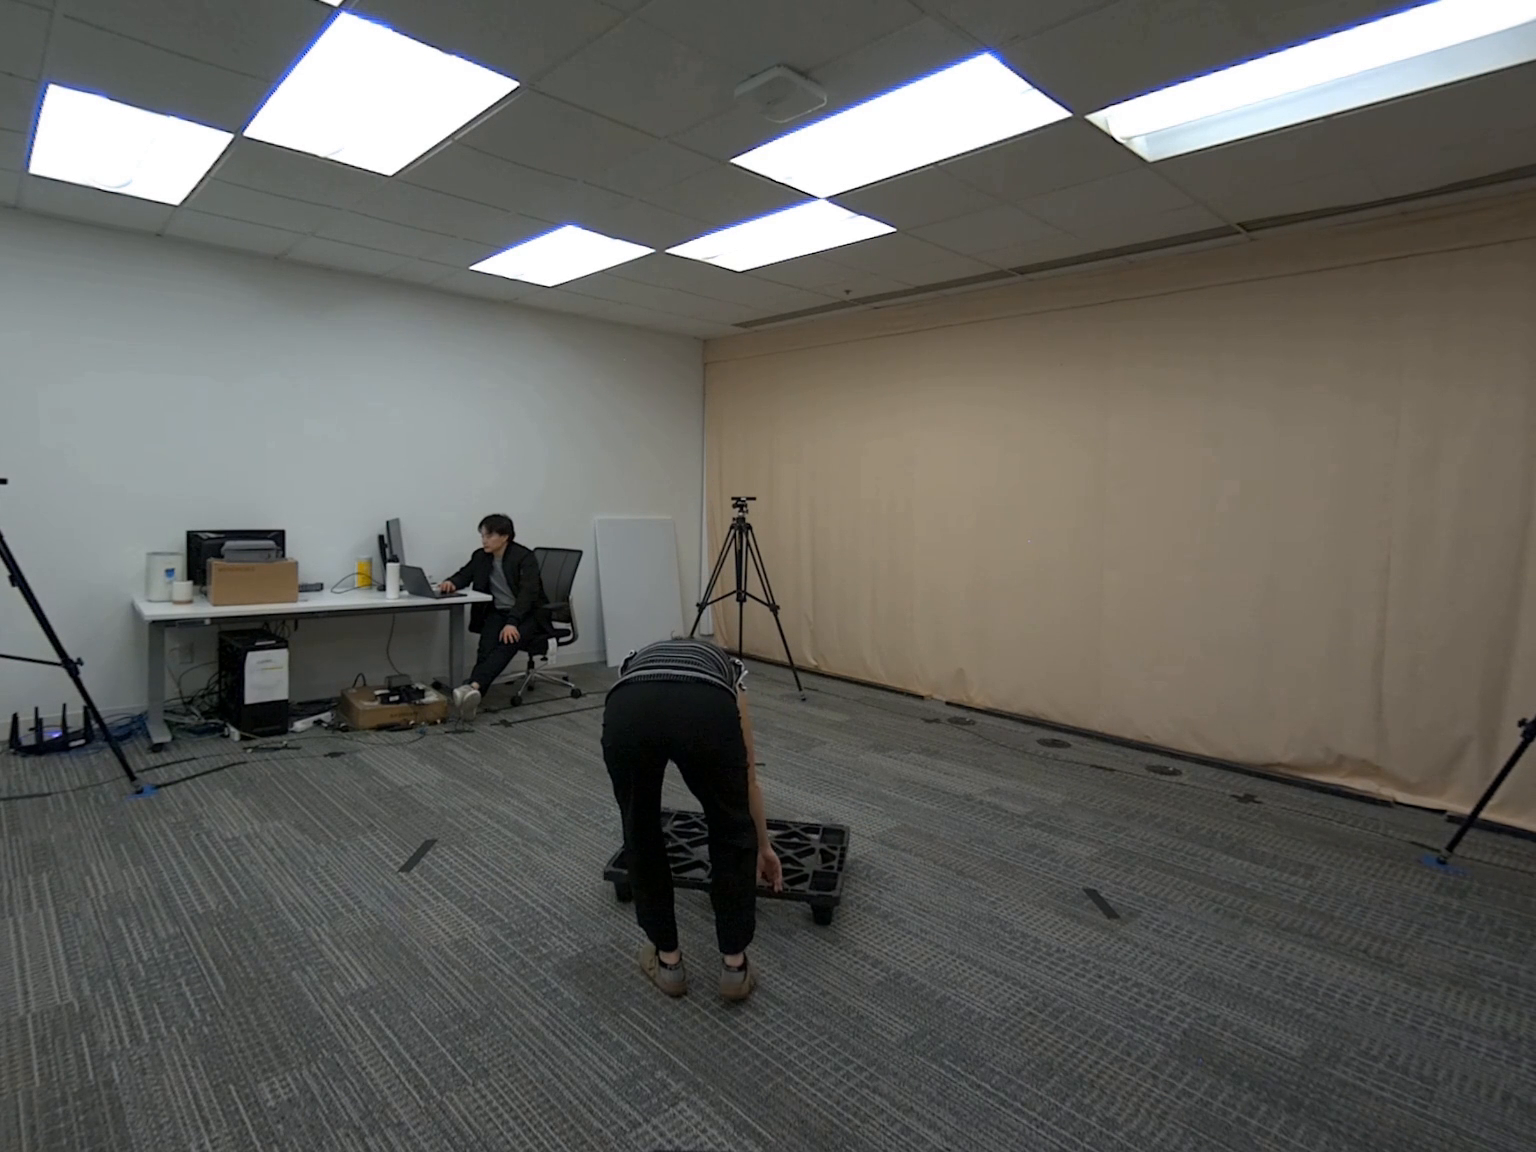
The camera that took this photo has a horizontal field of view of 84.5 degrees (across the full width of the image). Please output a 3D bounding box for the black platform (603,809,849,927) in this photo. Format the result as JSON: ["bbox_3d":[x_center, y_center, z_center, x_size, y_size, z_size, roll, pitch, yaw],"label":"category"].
[{"bbox_3d":[-0.129,1.043,3.048,0.813,0.143,0.601,3,5,10],"label":"black platform"}]
